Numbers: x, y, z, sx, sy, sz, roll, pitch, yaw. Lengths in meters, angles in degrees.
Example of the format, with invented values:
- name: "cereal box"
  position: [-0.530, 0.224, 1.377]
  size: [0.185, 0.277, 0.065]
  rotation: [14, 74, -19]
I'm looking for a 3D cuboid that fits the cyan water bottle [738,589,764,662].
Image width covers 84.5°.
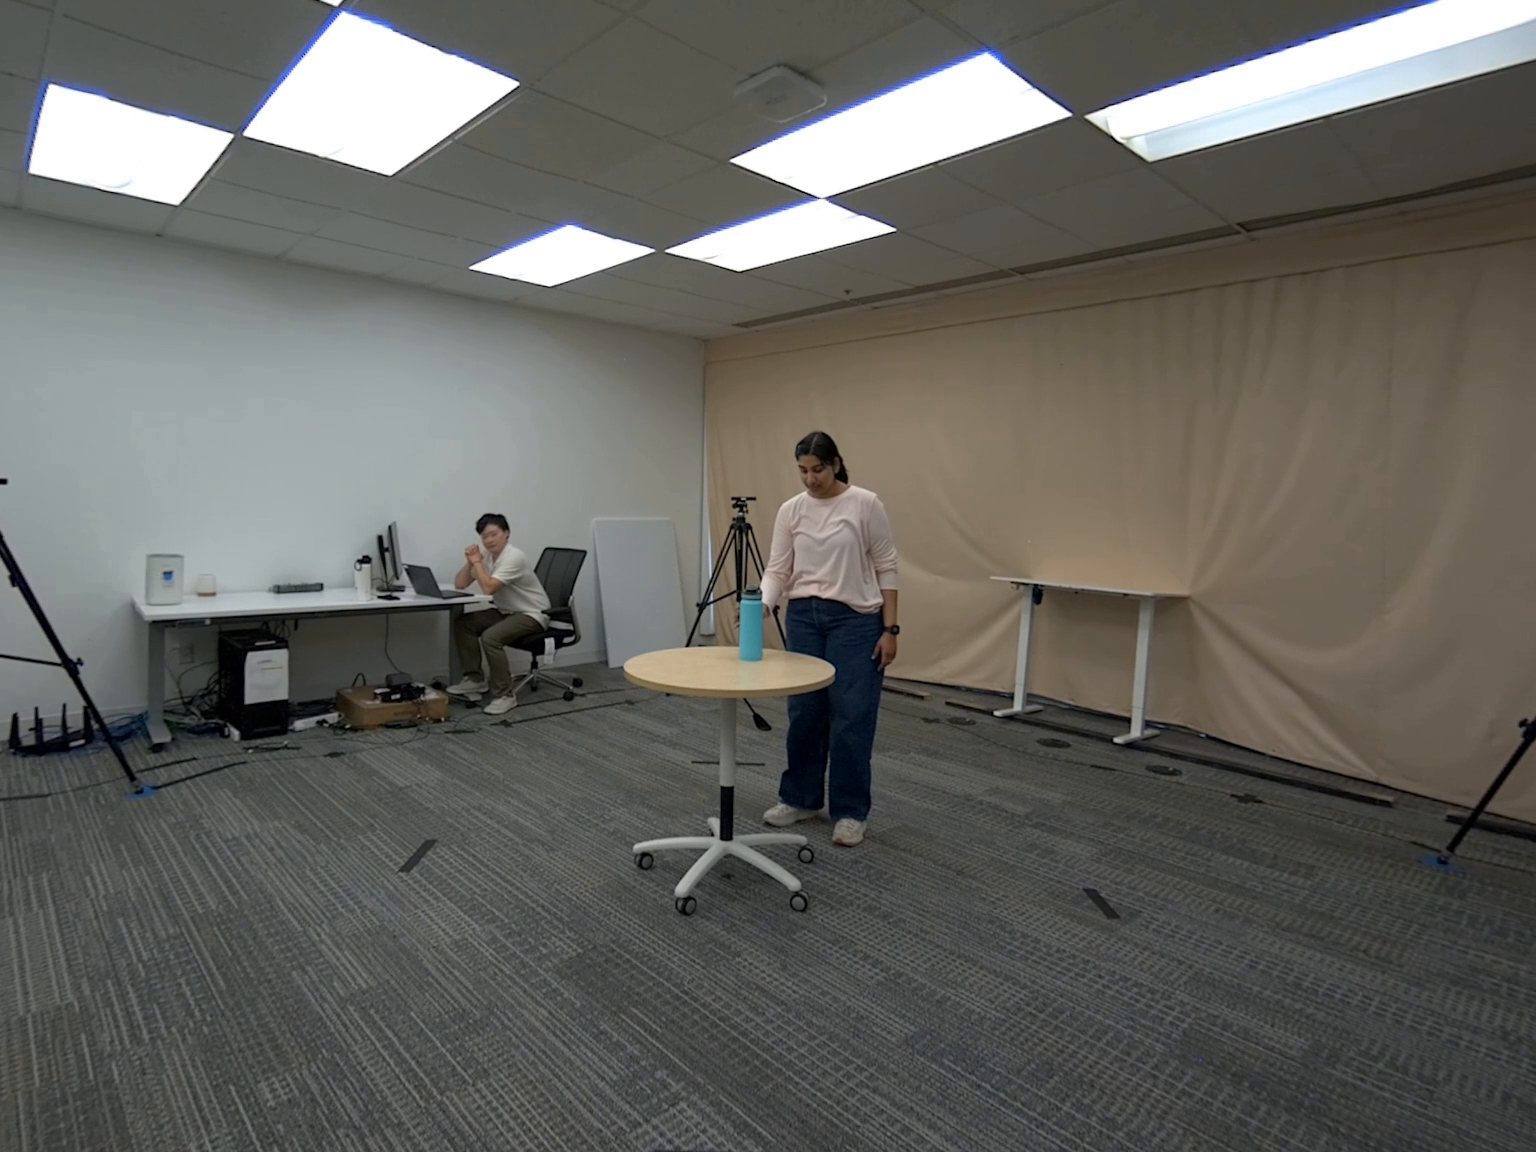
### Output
- name: "cyan water bottle"
  position: [-0.070, 0.179, 3.189]
  size: [0.092, 0.283, 0.092]
  rotation: [2, 3, -2]
